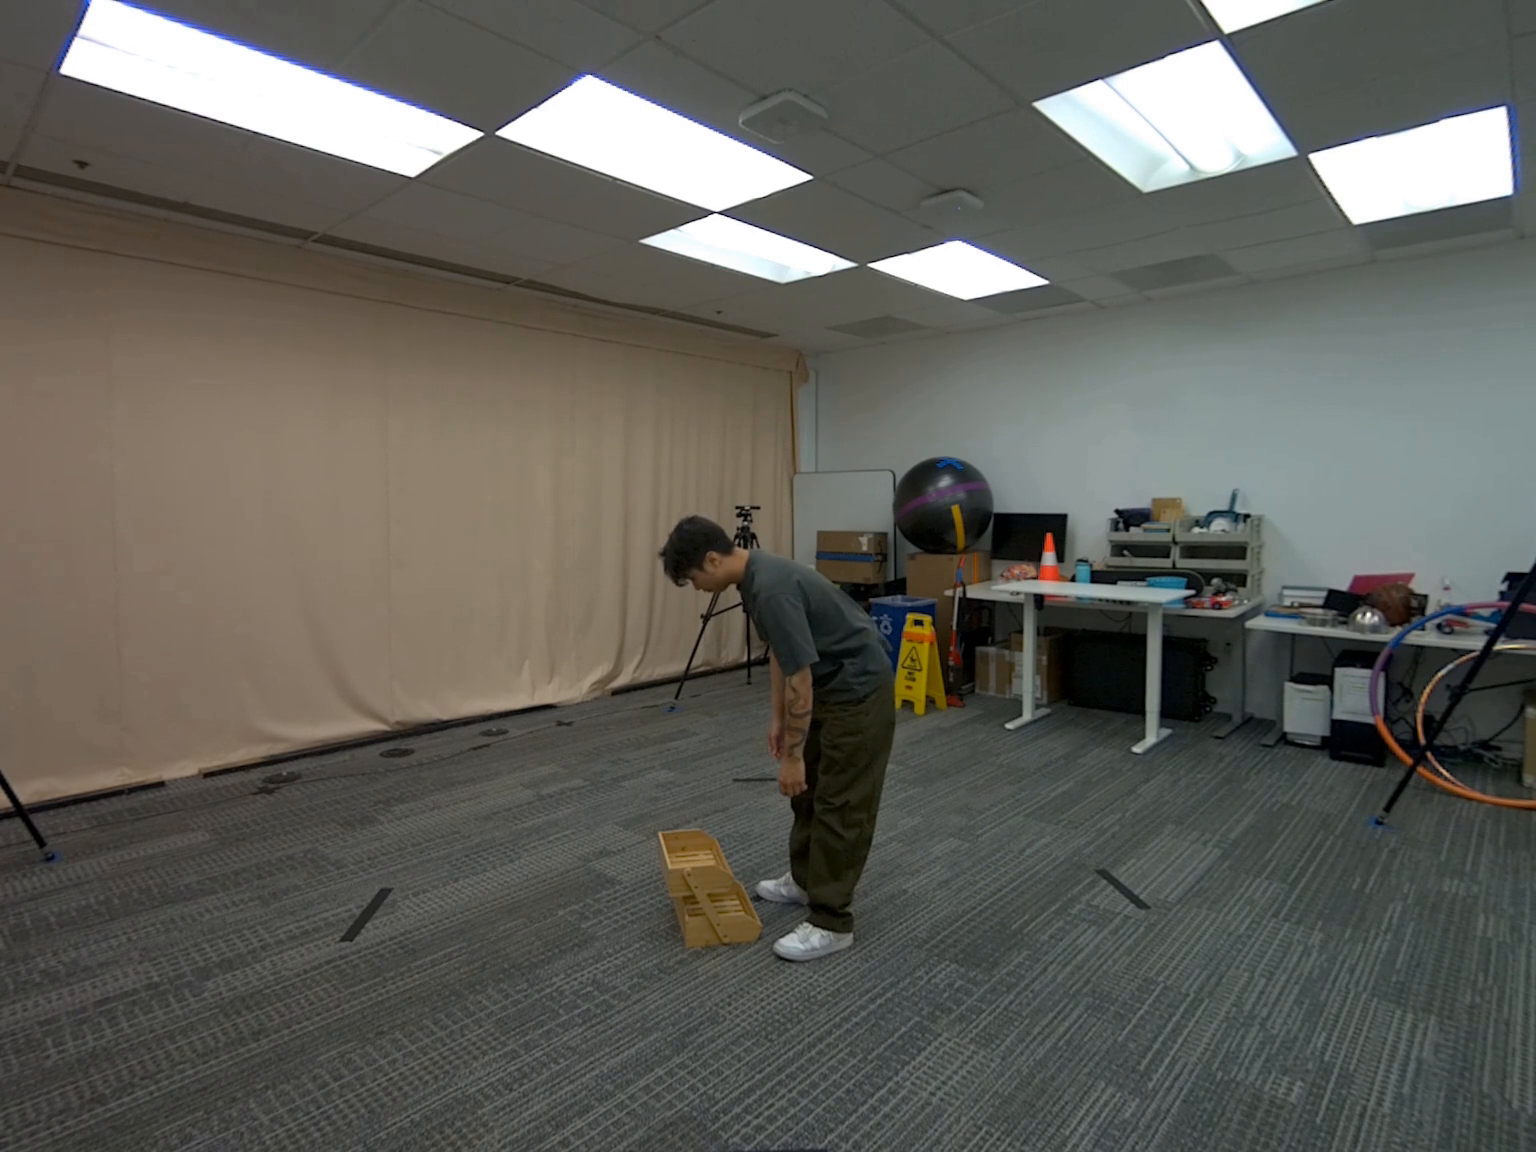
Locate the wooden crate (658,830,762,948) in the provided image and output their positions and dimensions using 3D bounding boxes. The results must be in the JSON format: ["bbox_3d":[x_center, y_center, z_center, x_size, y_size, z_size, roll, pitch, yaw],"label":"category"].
[{"bbox_3d":[-0.199,1.037,2.816,0.299,0.272,0.329,-3,4,-11],"label":"wooden crate"}]
